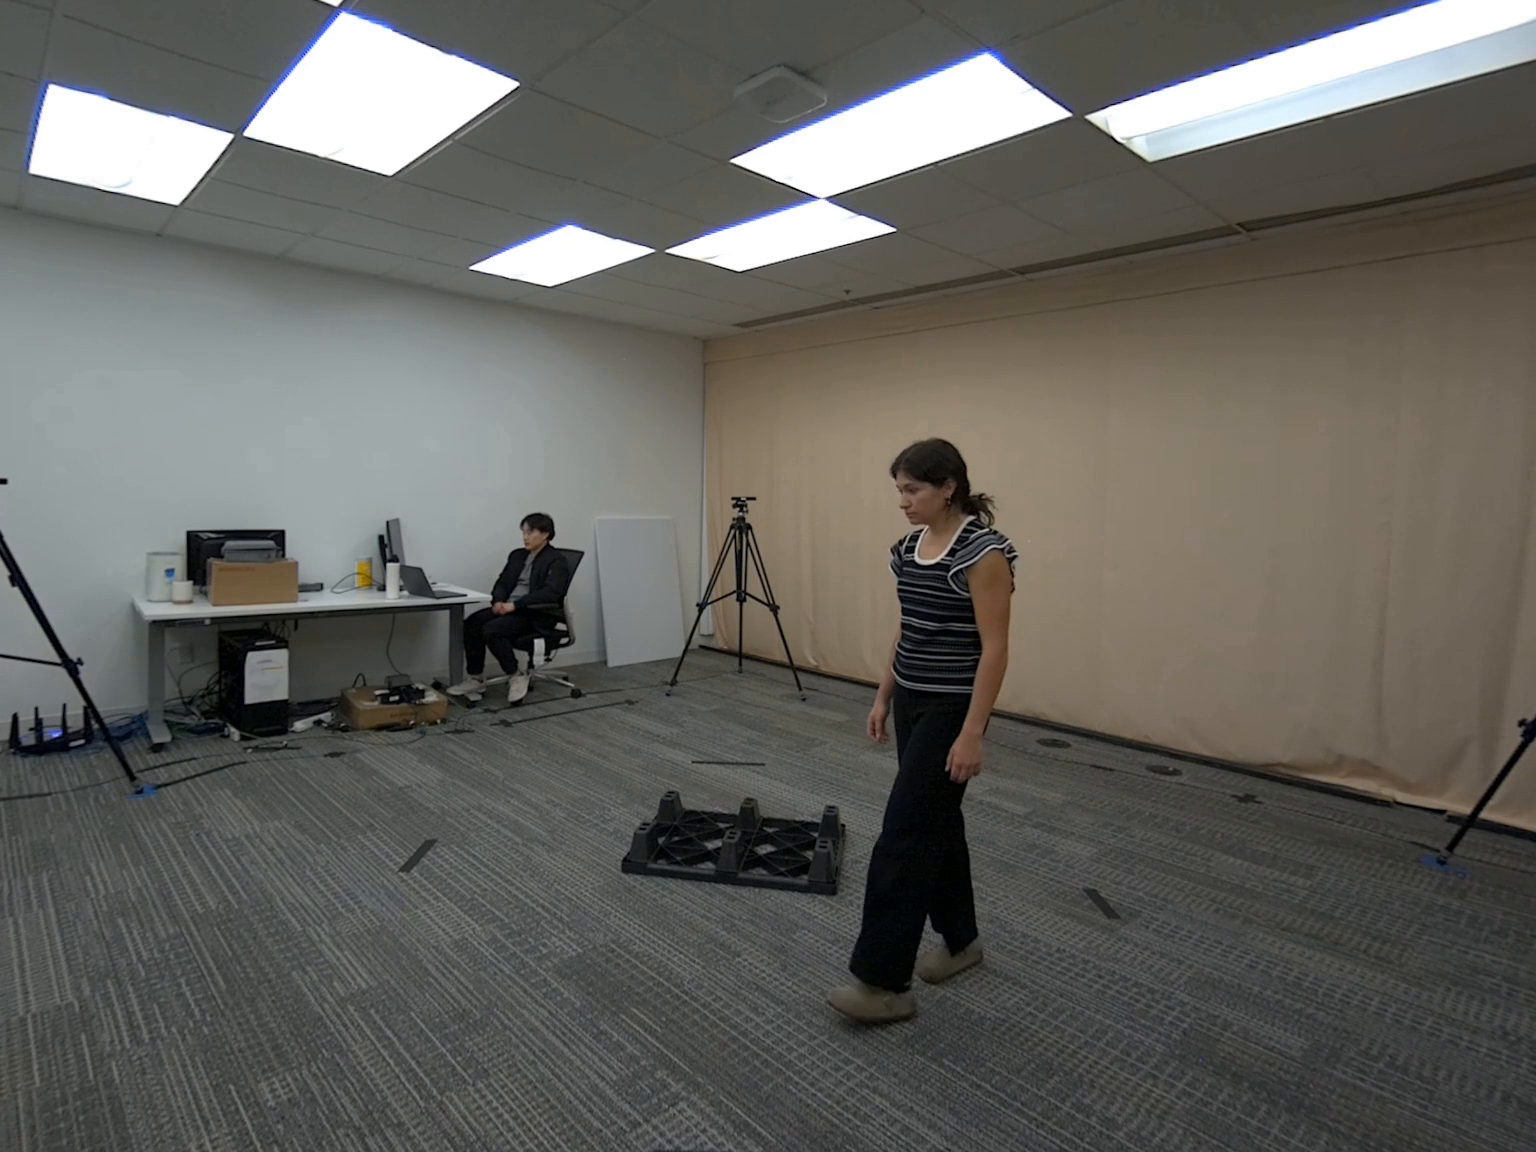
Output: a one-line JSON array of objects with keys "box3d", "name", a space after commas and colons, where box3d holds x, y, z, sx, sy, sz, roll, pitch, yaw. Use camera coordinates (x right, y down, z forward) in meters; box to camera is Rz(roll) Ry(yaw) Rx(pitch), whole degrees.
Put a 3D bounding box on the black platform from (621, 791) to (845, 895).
[{"box3d": [-0.113, 1.020, 3.326, 0.812, 0.143, 0.602, 2, 5, 10], "name": "black platform"}]
